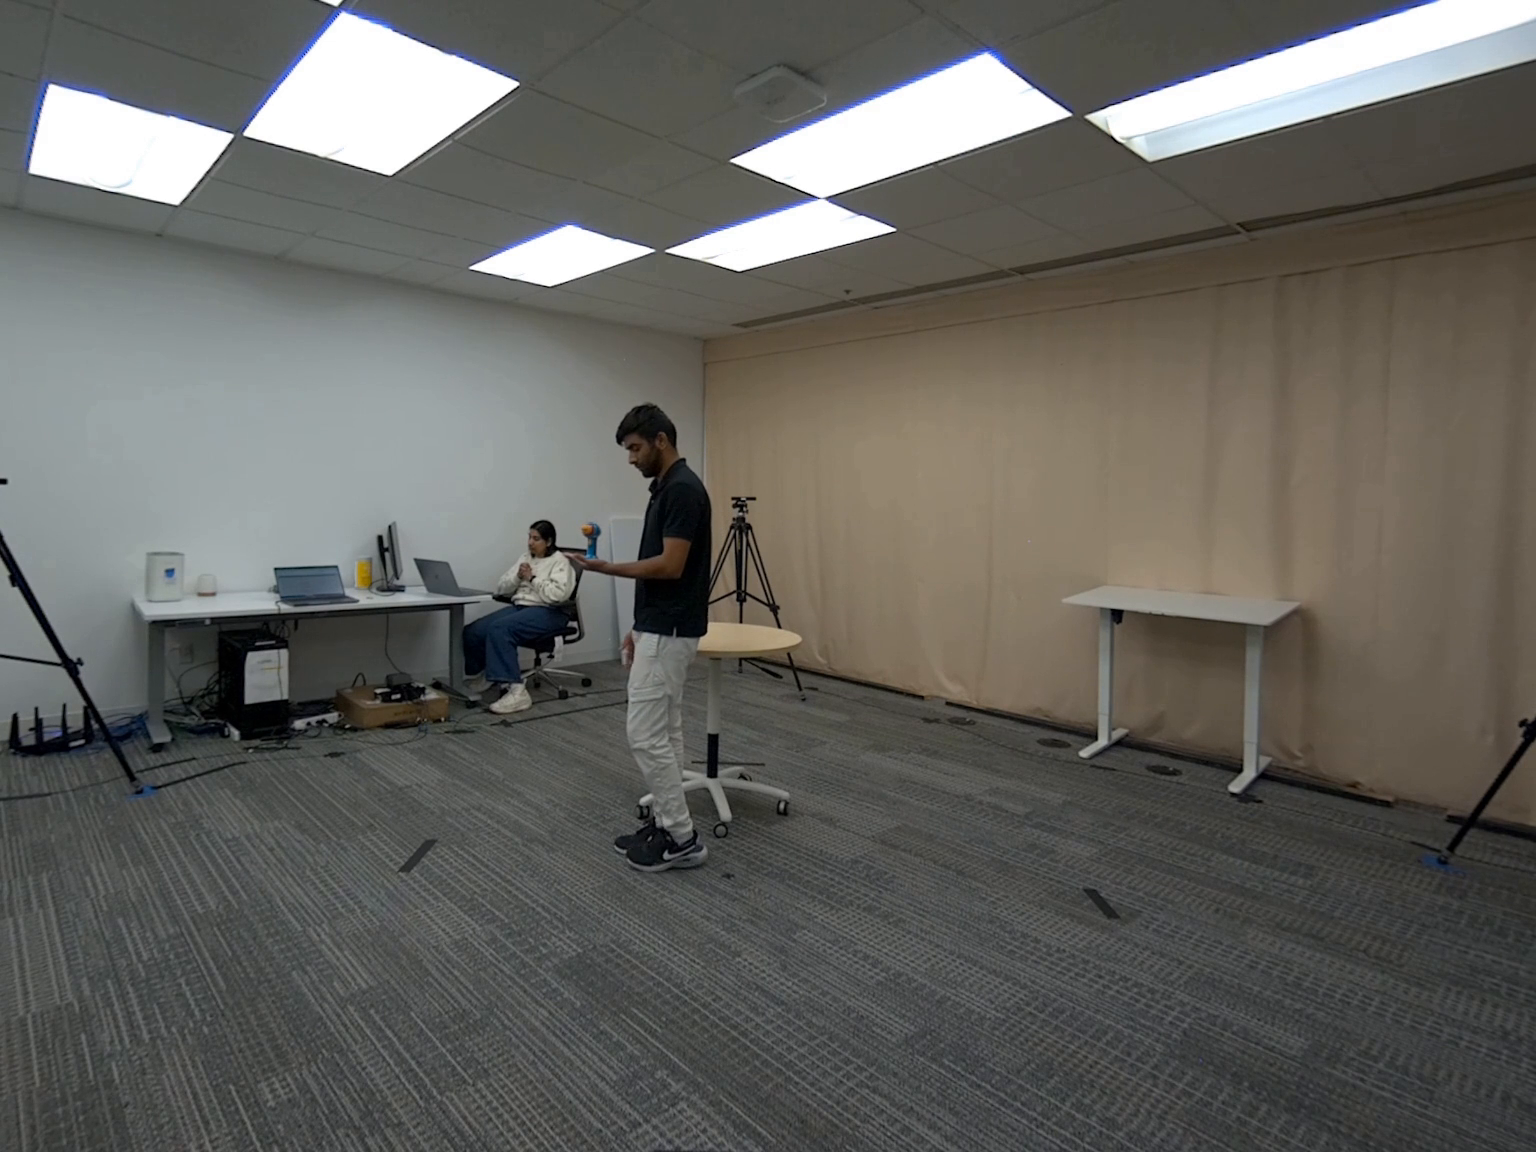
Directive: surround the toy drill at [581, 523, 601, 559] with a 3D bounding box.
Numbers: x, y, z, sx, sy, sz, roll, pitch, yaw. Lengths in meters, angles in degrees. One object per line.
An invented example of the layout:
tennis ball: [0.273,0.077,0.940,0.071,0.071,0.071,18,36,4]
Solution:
toy drill: [-0.658,-0.130,3.087,0.061,0.146,0.168,8,-4,4]
